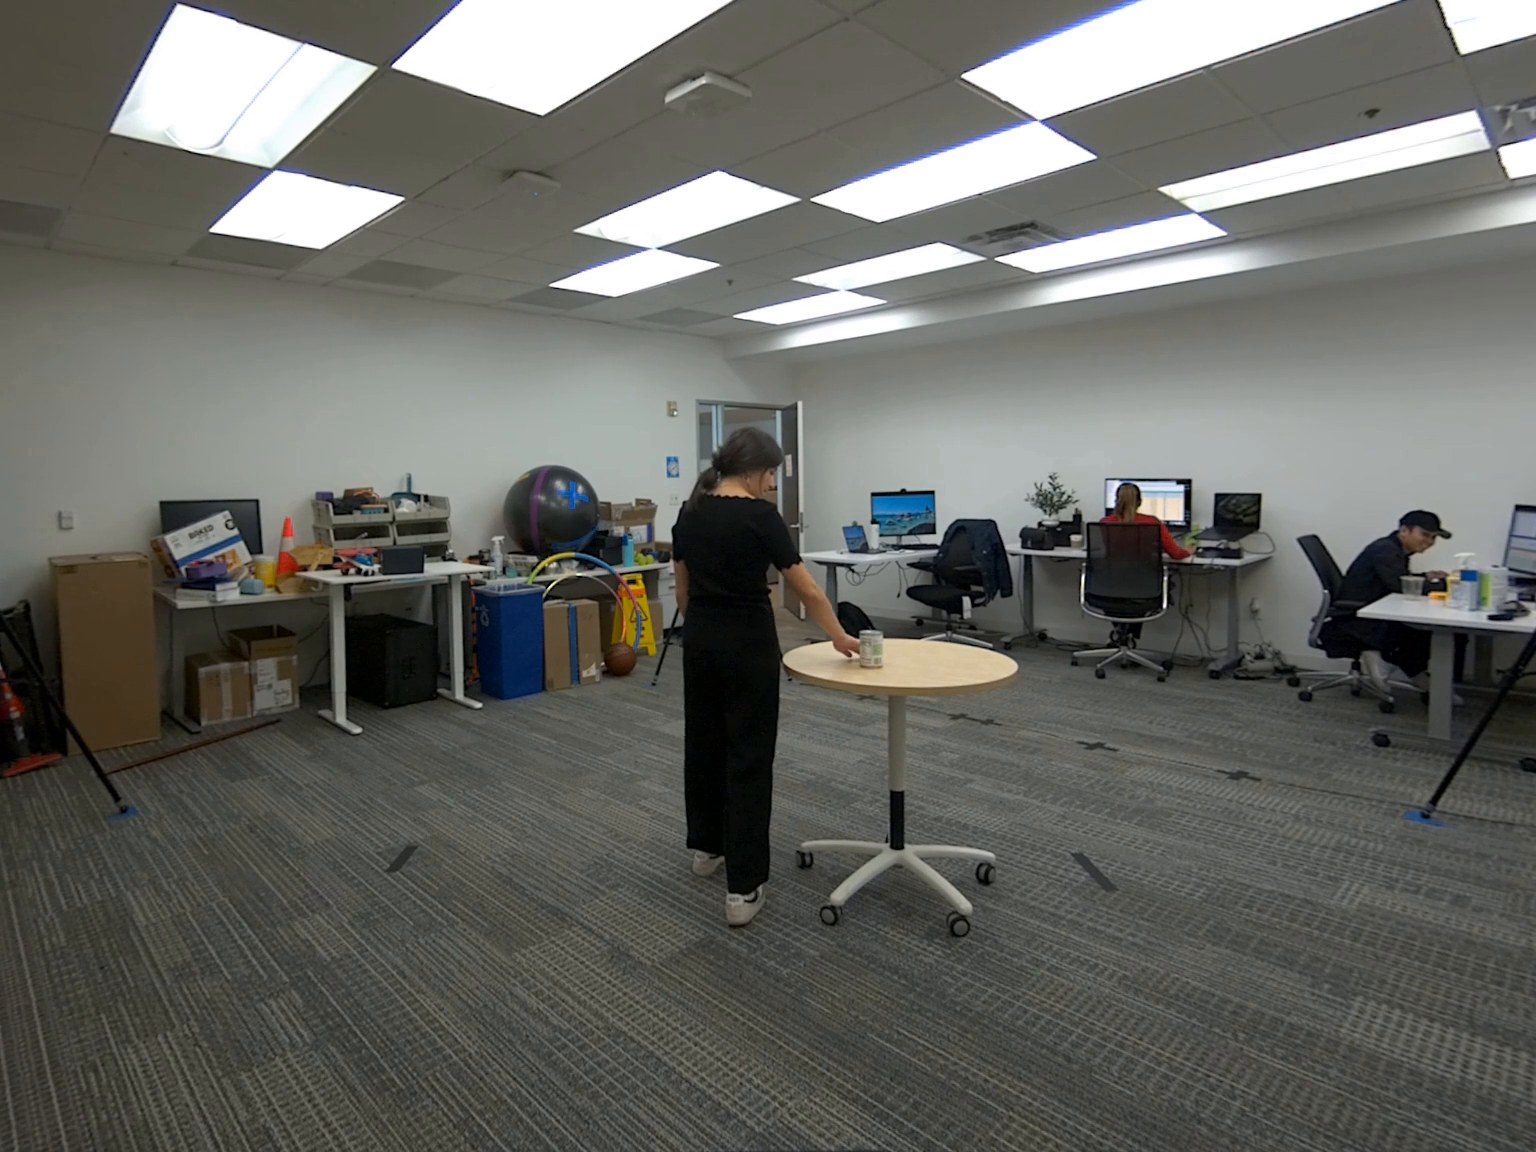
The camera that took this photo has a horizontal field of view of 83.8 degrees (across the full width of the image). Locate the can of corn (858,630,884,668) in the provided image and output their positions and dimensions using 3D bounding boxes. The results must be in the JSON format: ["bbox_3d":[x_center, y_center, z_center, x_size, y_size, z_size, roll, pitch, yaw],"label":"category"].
[{"bbox_3d":[0.333,0.236,2.751,0.074,0.110,0.074,-1,5,-2],"label":"can of corn"}]
